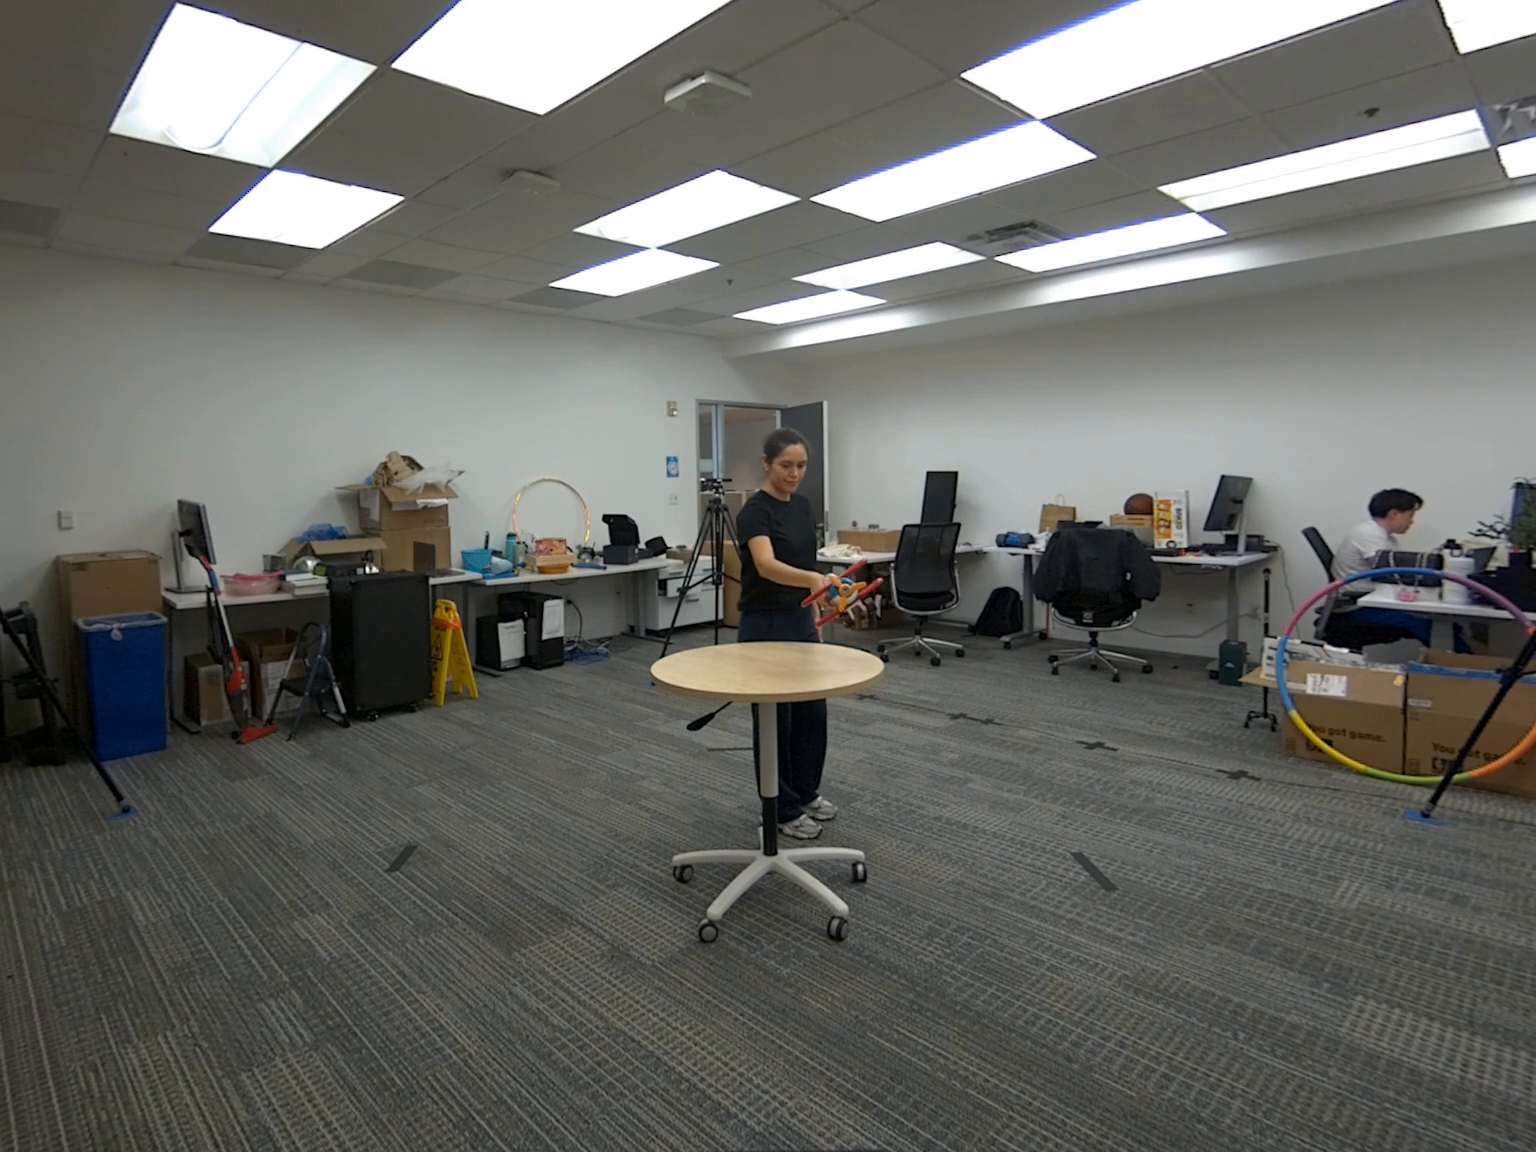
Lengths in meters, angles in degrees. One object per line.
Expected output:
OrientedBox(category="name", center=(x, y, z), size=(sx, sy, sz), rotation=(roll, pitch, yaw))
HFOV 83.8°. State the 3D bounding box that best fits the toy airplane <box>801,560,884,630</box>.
OrientedBox(category="toy airplane", center=(0.213, 0.077, 2.746), size=(0.250, 0.155, 0.263), rotation=(-39, 11, -35))
